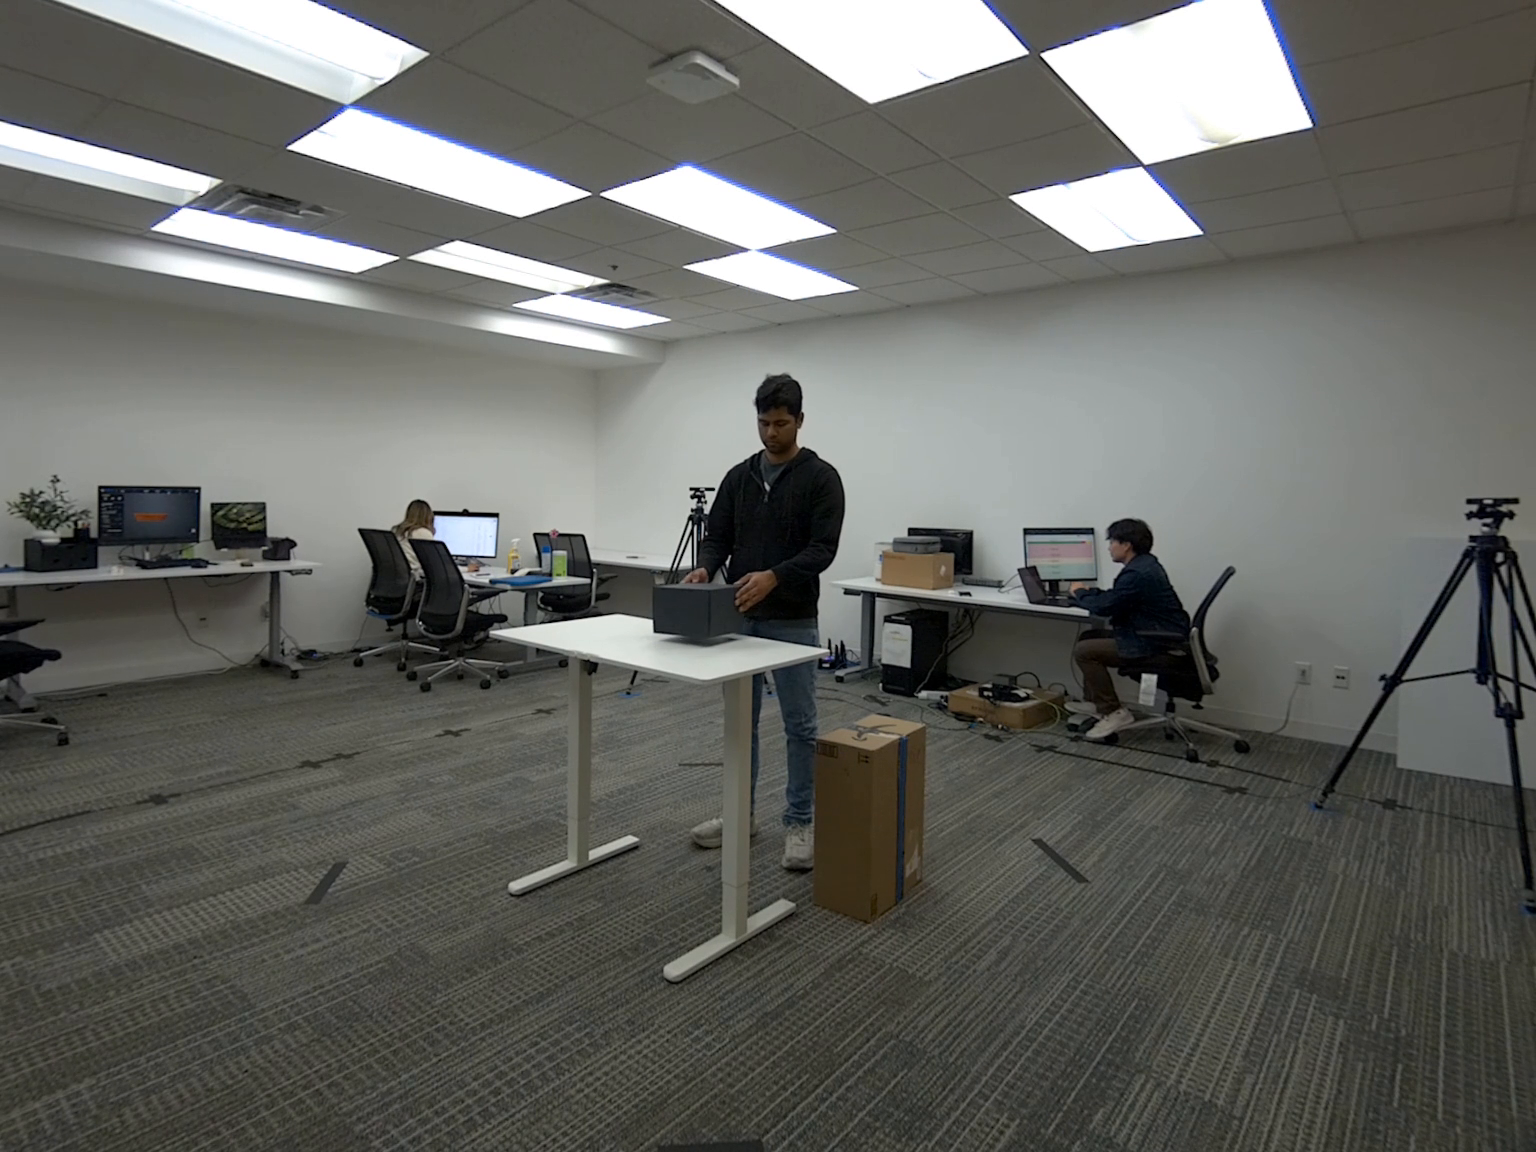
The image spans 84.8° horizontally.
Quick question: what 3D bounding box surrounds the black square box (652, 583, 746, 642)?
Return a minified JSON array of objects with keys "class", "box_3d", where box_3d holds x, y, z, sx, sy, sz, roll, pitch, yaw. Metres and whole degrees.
[{"class":"black square box","box_3d":[-0.230,0.108,2.828,0.234,0.155,0.211,2,3,31]}]
